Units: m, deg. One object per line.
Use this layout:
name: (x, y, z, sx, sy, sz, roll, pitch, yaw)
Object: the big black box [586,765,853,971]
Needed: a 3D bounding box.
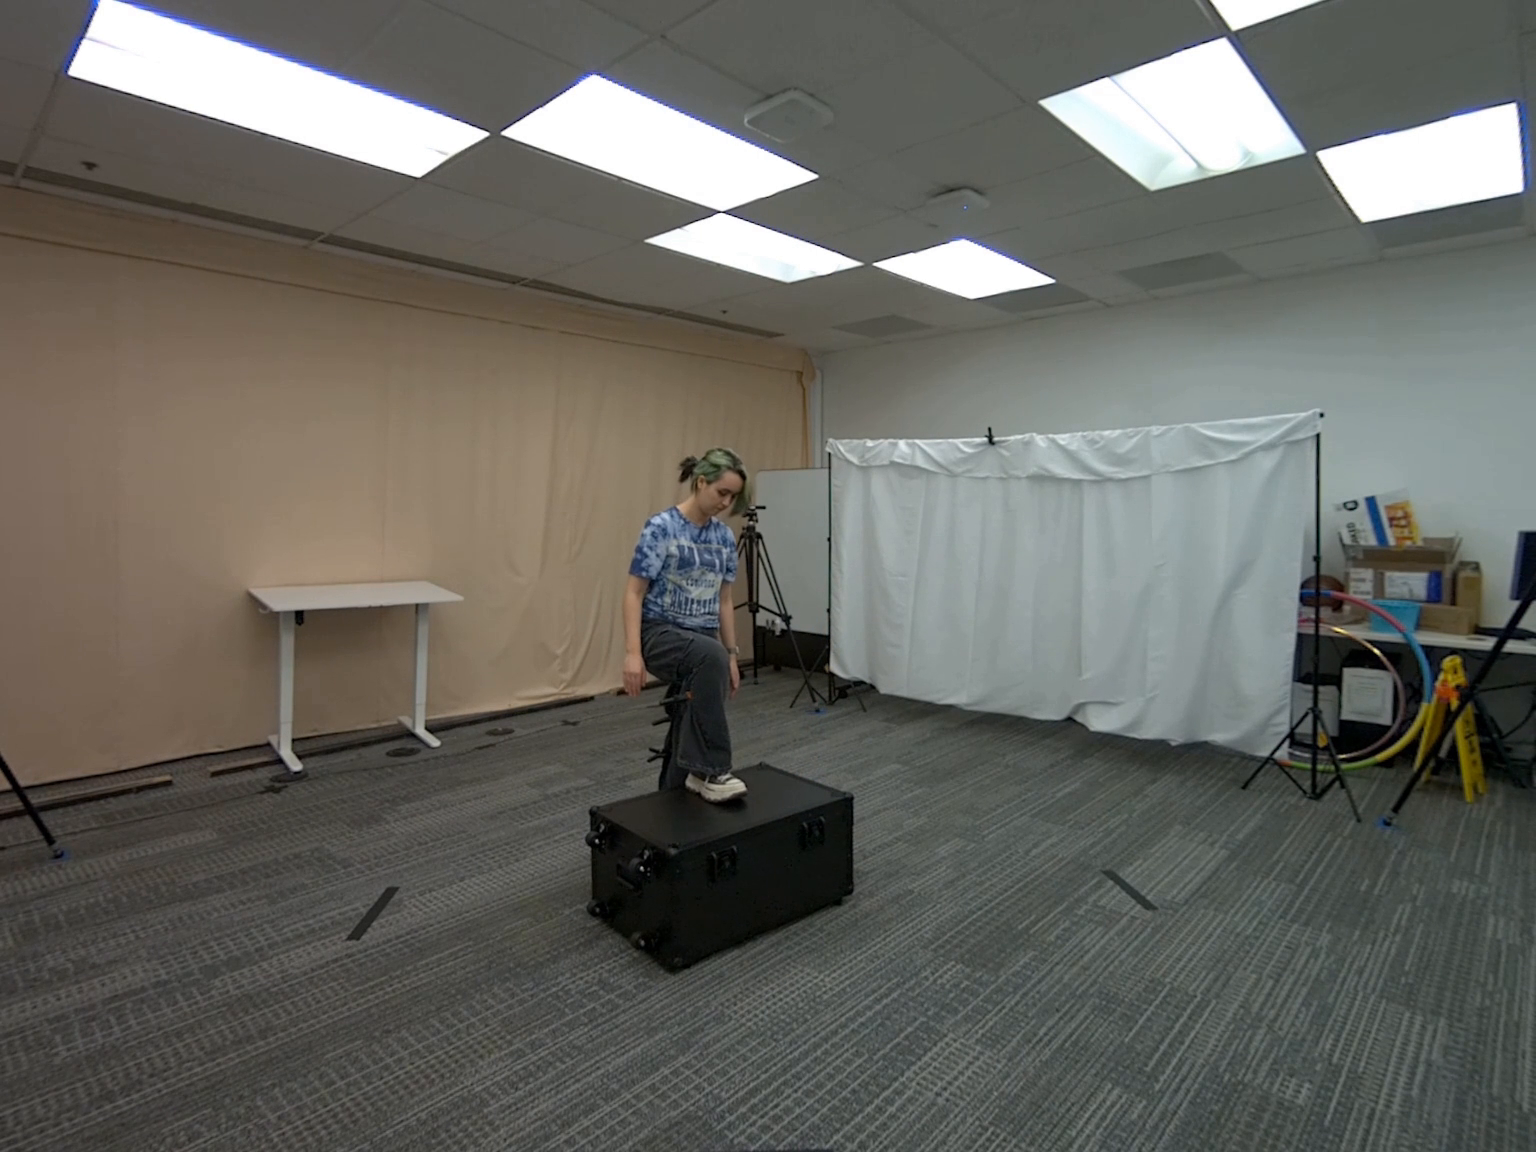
big black box: (-0.173, 0.963, 2.885, 0.835, 0.395, 0.538, -4, 5, -40)
